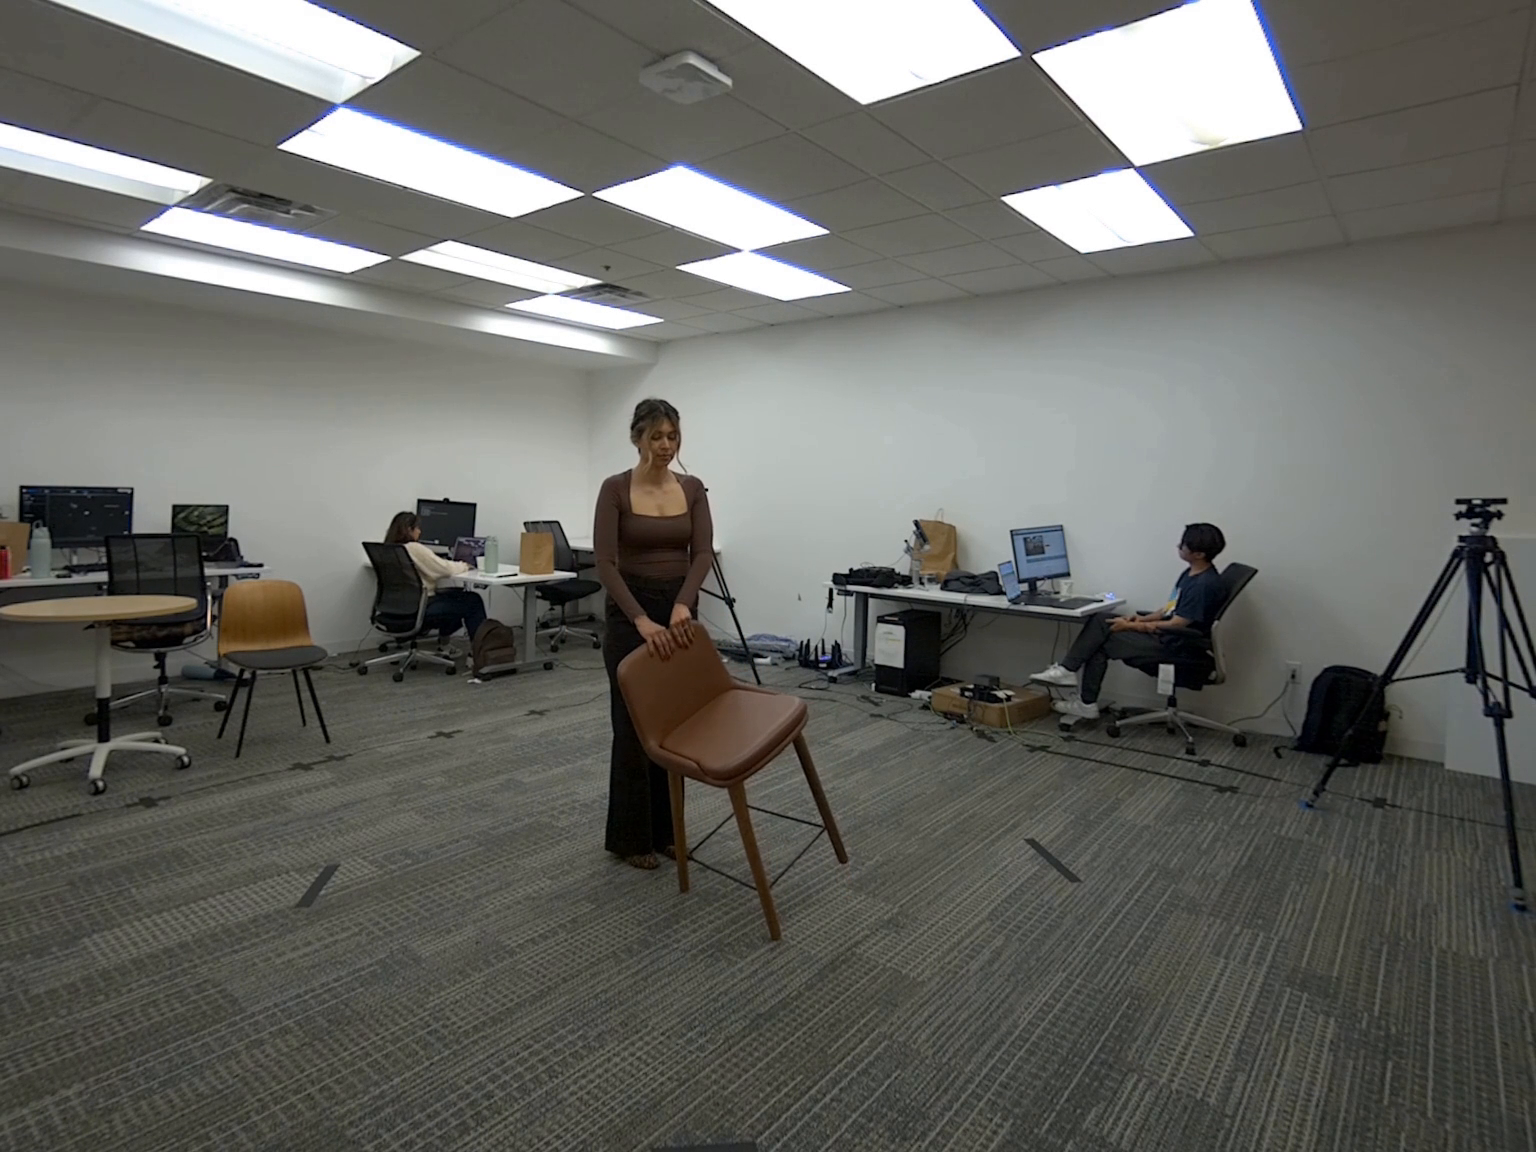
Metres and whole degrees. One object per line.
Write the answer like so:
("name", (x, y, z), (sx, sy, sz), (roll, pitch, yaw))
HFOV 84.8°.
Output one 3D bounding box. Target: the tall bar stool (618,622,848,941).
("tall bar stool", (-0.123, 0.631, 2.789), (0.482, 0.874, 0.450), (0, 21, 42))
